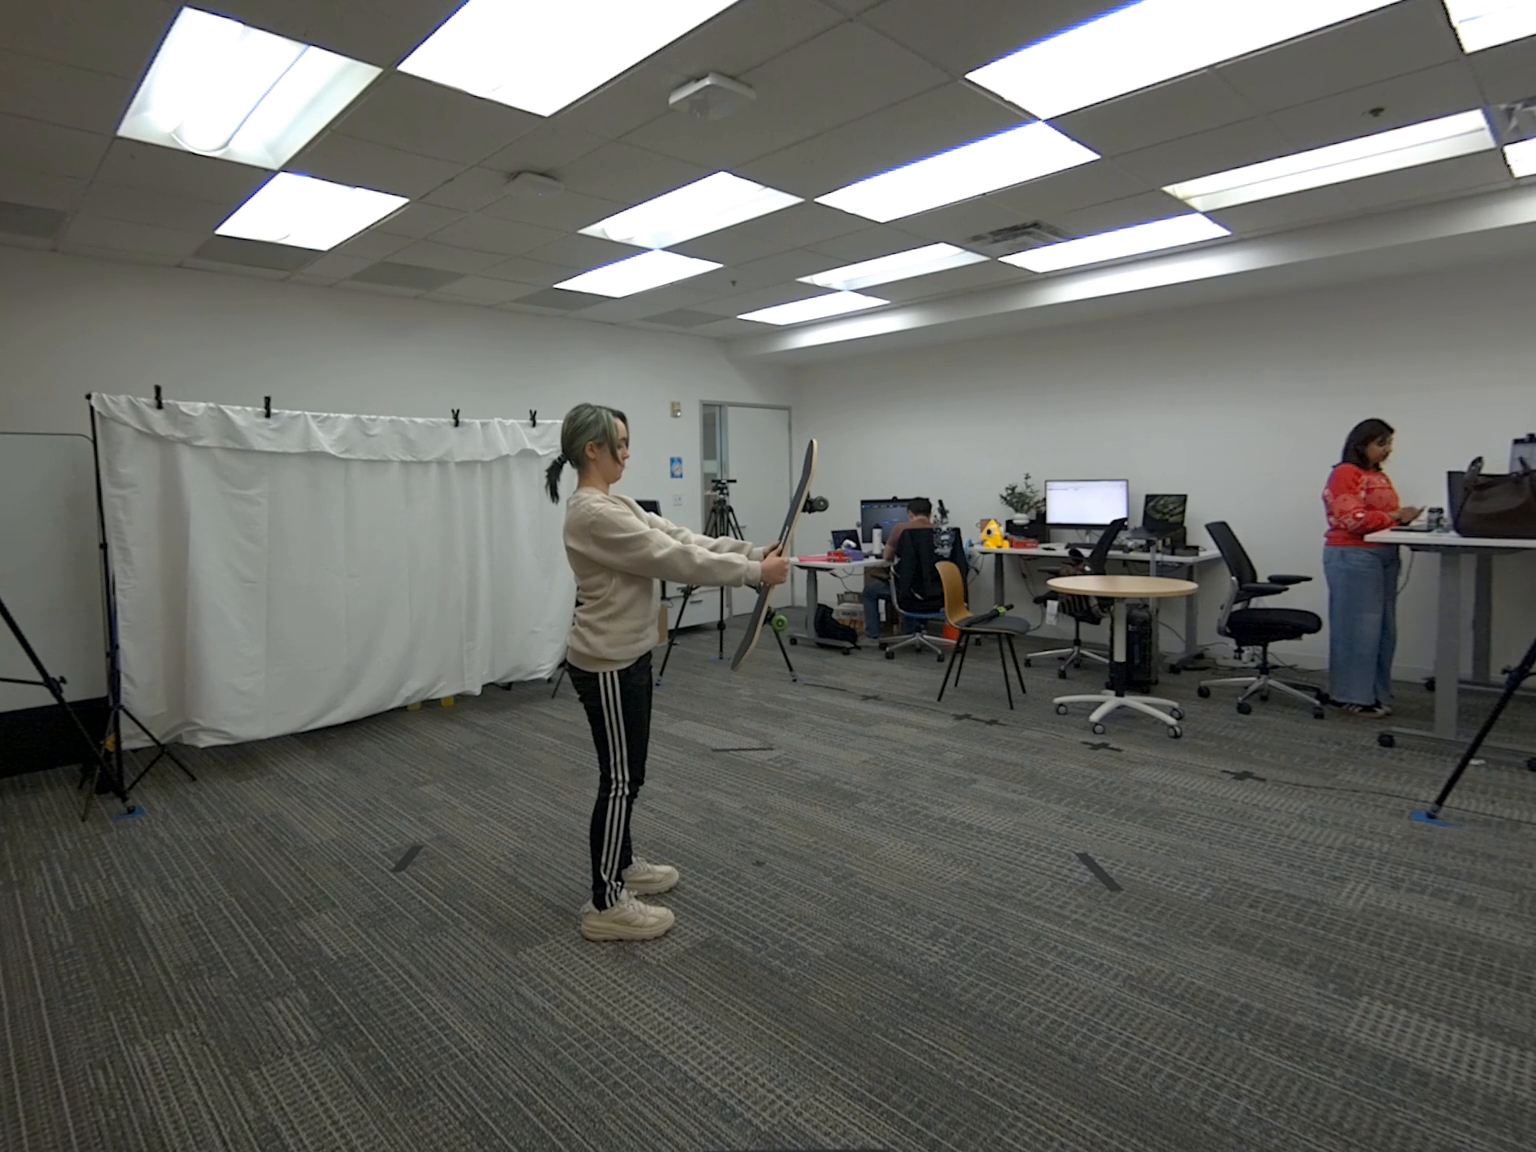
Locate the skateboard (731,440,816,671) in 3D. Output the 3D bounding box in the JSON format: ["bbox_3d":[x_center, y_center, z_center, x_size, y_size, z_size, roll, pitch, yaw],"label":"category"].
[{"bbox_3d":[0.065,-0.053,2.768,0.110,0.786,0.194,18,-1,-5],"label":"skateboard"}]
